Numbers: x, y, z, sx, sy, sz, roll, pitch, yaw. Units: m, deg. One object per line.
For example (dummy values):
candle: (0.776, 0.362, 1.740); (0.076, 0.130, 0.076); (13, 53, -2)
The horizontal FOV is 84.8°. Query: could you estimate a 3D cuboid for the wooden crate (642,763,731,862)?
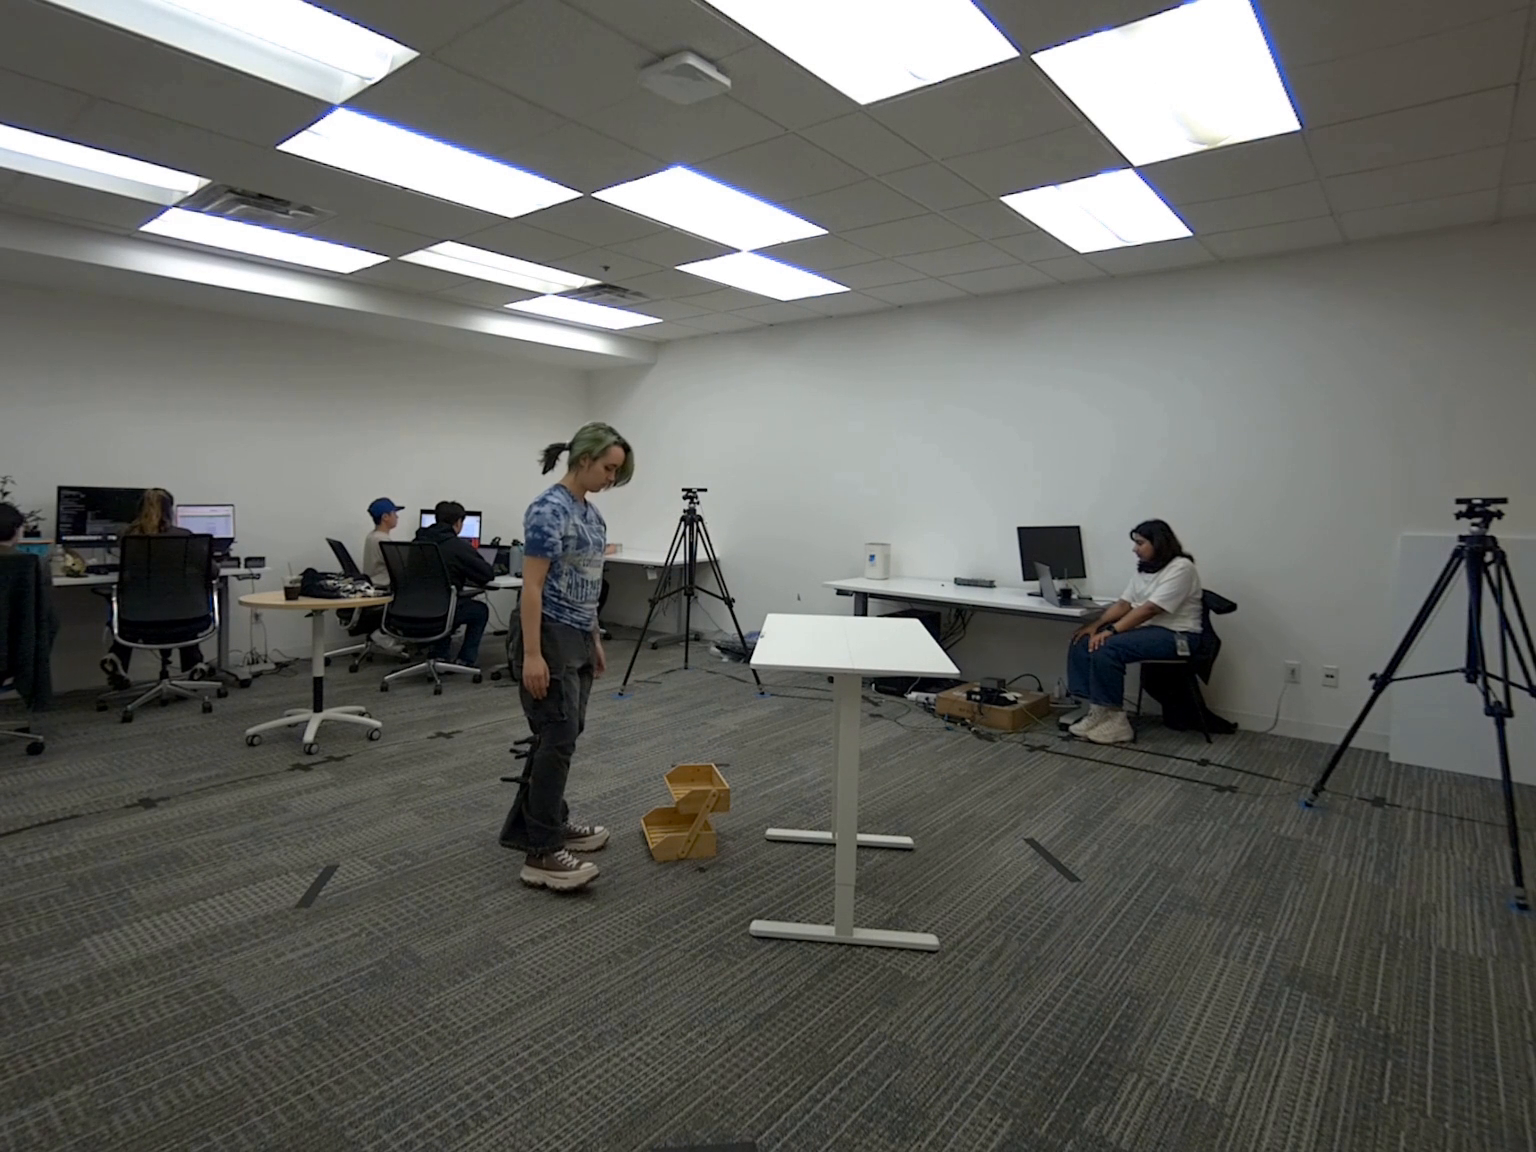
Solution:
wooden crate: (-0.339, 0.920, 3.344); (0.297, 0.273, 0.331); (4, 3, -16)
